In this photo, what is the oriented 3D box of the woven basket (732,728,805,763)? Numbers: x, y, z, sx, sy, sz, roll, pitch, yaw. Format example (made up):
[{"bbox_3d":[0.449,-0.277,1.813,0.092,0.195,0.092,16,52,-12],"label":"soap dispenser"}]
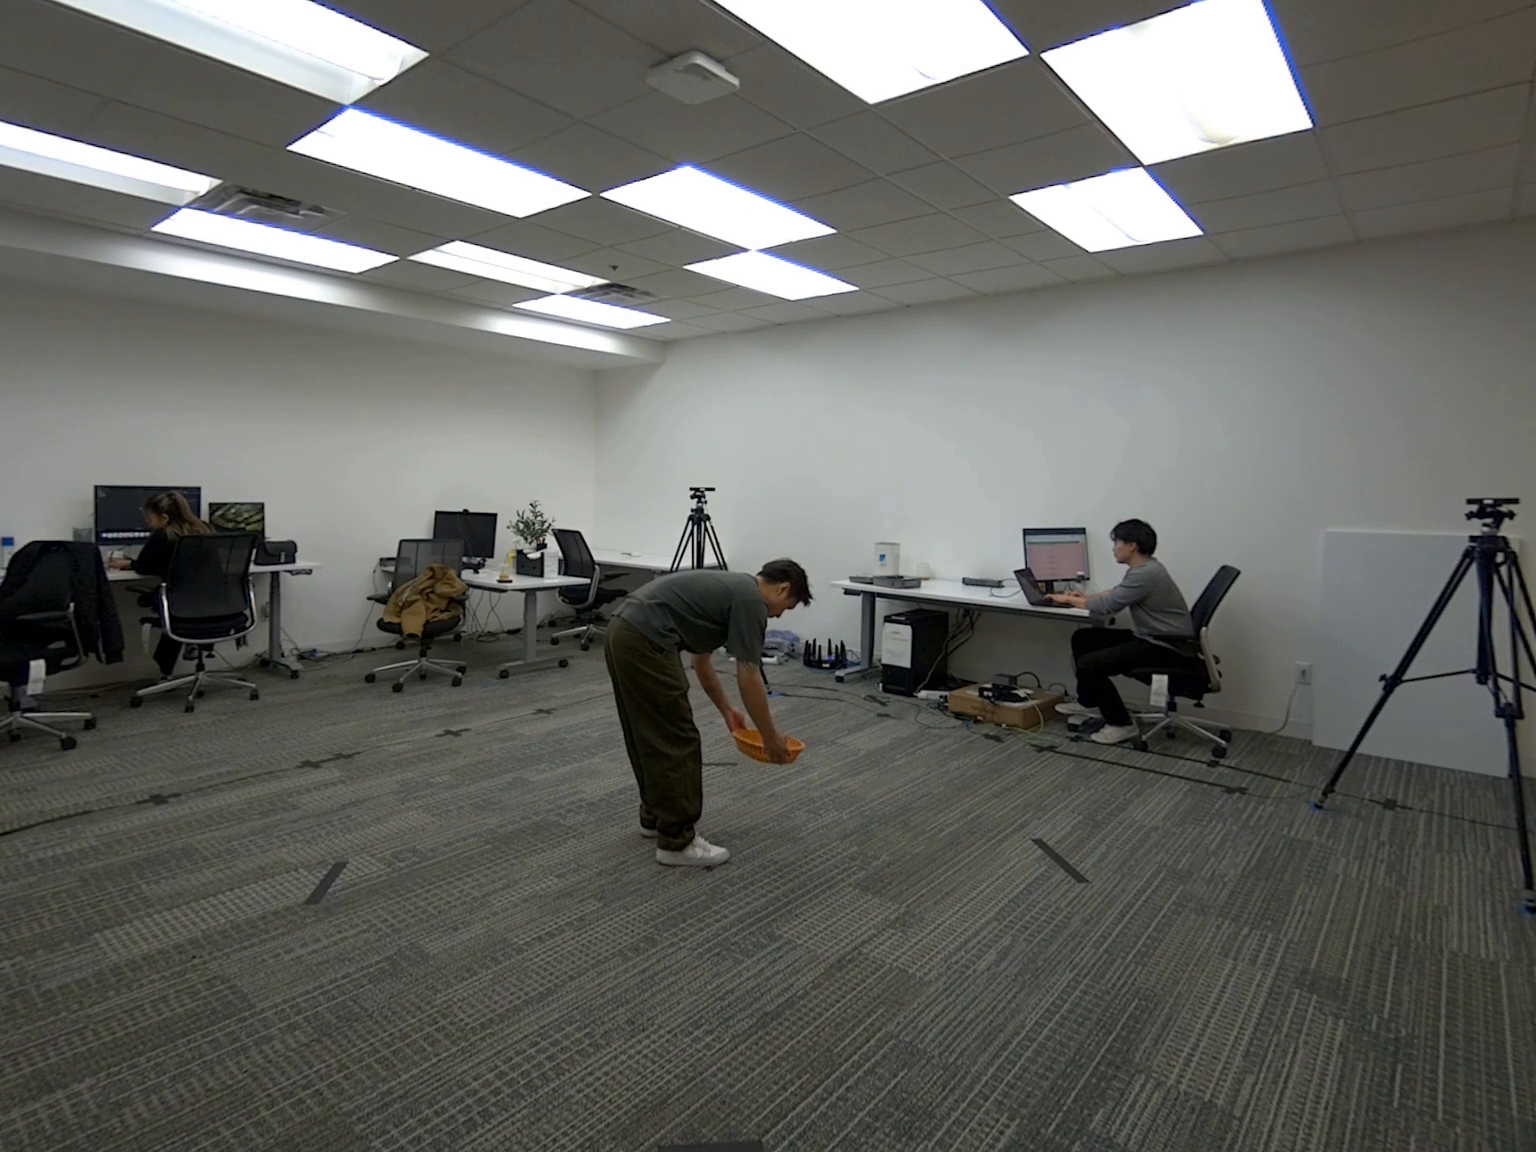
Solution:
[{"bbox_3d":[-0.014,0.689,3.454,0.245,0.073,0.361,5,2,-30],"label":"woven basket"}]
